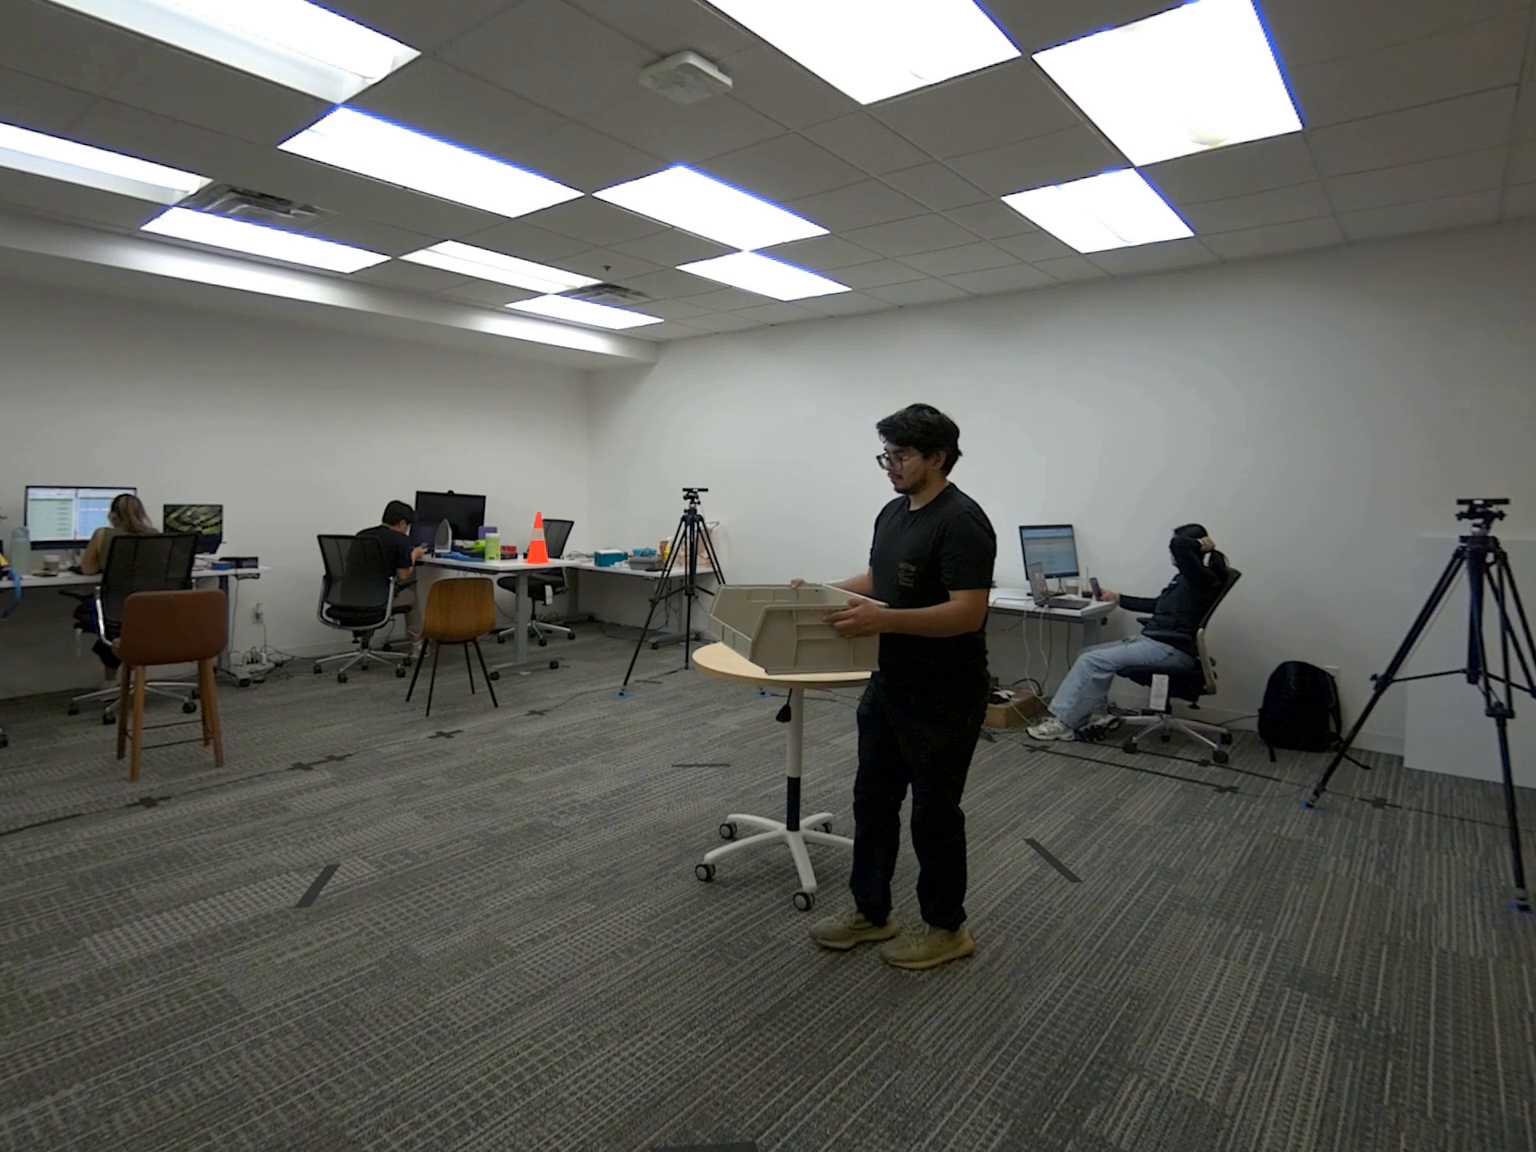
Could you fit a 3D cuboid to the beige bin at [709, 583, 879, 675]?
[{"bbox_3d":[0.057,0.144,2.388,0.370,0.188,0.432,0,6,-19],"label":"beige bin"}]
